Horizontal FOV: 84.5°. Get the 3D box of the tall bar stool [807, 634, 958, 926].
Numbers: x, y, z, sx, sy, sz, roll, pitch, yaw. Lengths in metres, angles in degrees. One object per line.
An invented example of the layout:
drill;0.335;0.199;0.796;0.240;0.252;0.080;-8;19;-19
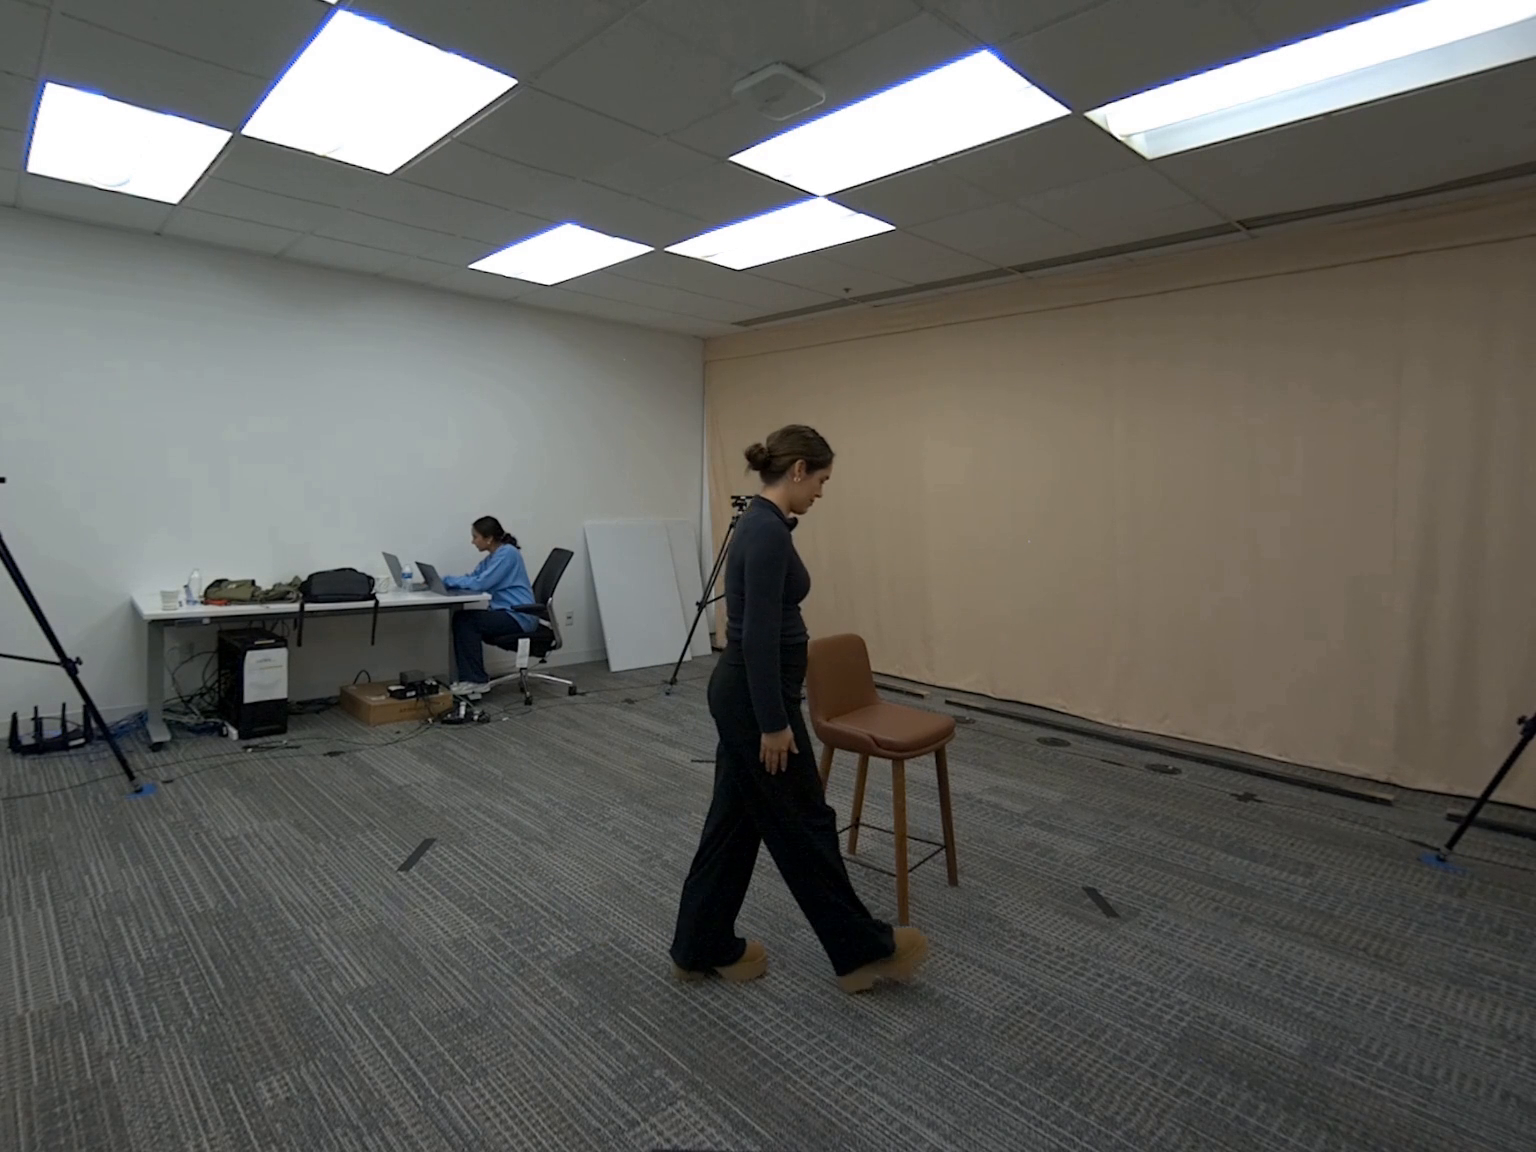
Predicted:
tall bar stool;0.401;0.689;3.032;0.479;0.888;0.446;2;3;39
